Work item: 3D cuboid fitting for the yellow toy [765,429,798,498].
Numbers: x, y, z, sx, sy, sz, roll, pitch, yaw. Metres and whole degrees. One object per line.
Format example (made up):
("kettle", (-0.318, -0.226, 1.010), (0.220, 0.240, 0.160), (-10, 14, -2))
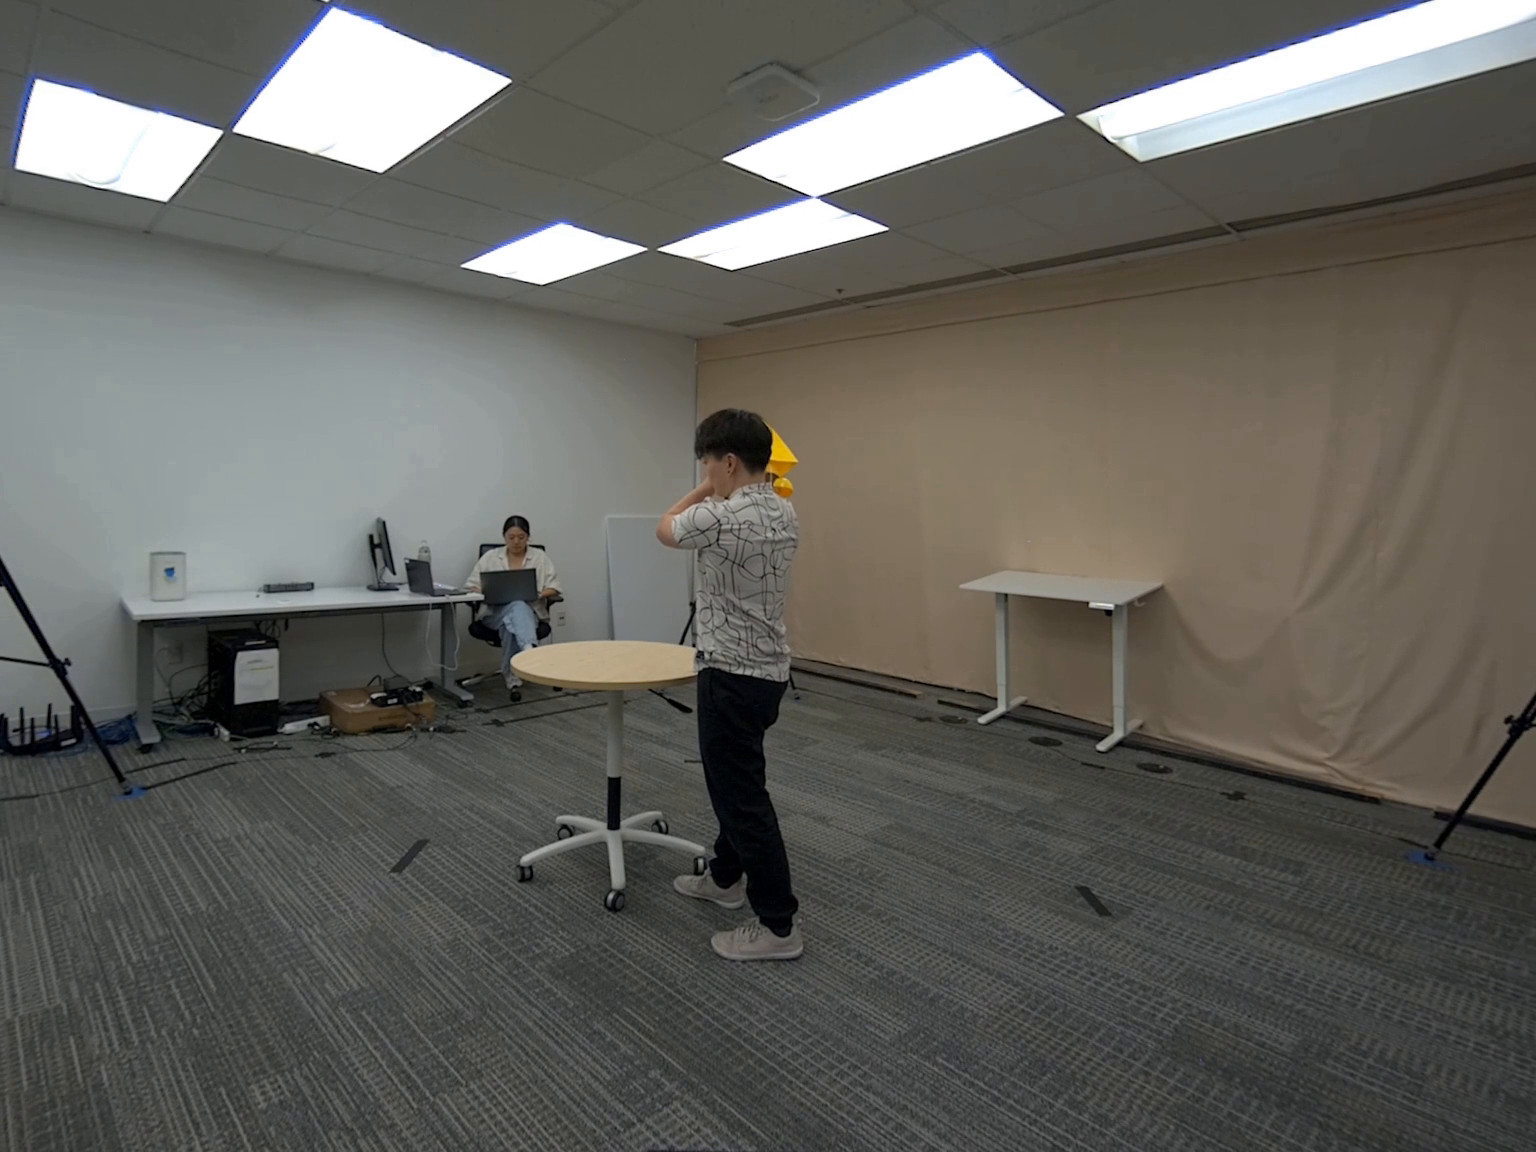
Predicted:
("yellow toy", (-0.034, -0.384, 2.792), (0.203, 0.233, 0.192), (1, -15, -11))
